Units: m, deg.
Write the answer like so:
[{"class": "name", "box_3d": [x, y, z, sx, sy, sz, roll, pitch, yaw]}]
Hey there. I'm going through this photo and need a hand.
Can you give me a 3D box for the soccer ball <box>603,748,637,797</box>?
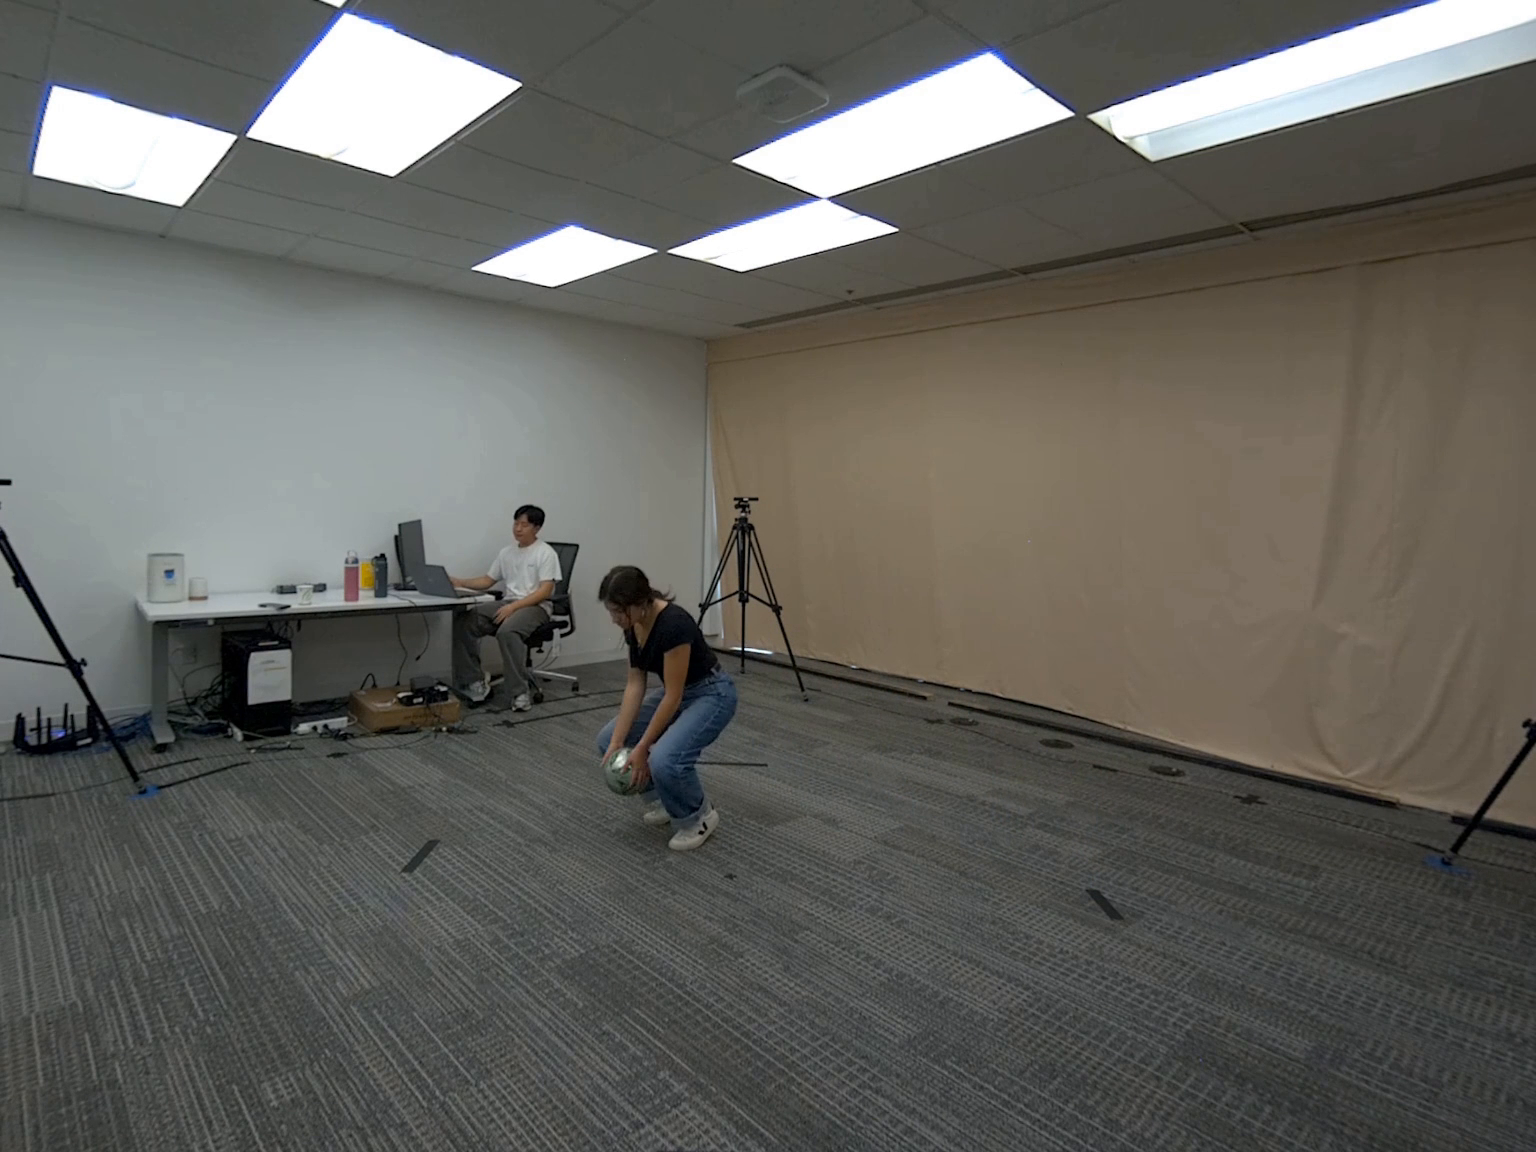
[{"class": "soccer ball", "box_3d": [-0.571, 0.774, 3.376, 0.187, 0.187, 0.188, 1, 4, -1]}]
